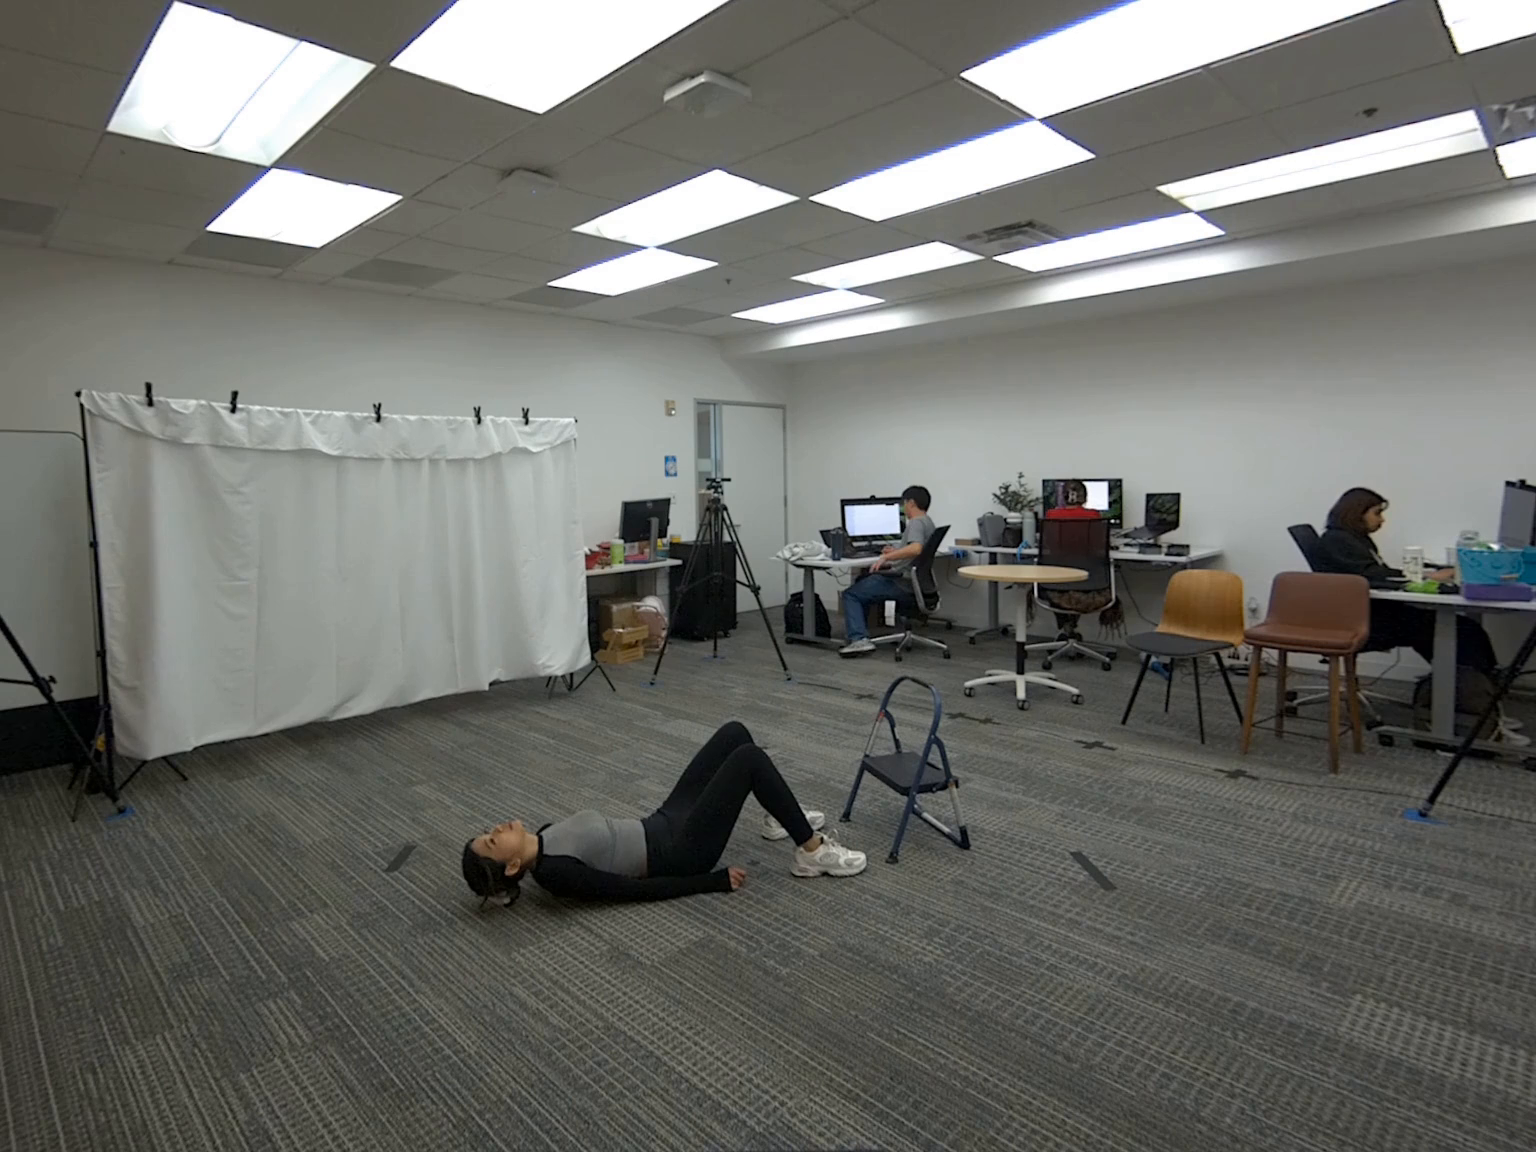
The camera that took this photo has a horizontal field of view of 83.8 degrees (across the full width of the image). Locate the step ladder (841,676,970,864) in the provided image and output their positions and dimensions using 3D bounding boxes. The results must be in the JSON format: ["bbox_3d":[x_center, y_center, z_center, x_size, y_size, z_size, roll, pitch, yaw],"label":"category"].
[{"bbox_3d":[0.522,0.707,3.315,0.343,0.604,0.439,-2,4,-19],"label":"step ladder"}]
